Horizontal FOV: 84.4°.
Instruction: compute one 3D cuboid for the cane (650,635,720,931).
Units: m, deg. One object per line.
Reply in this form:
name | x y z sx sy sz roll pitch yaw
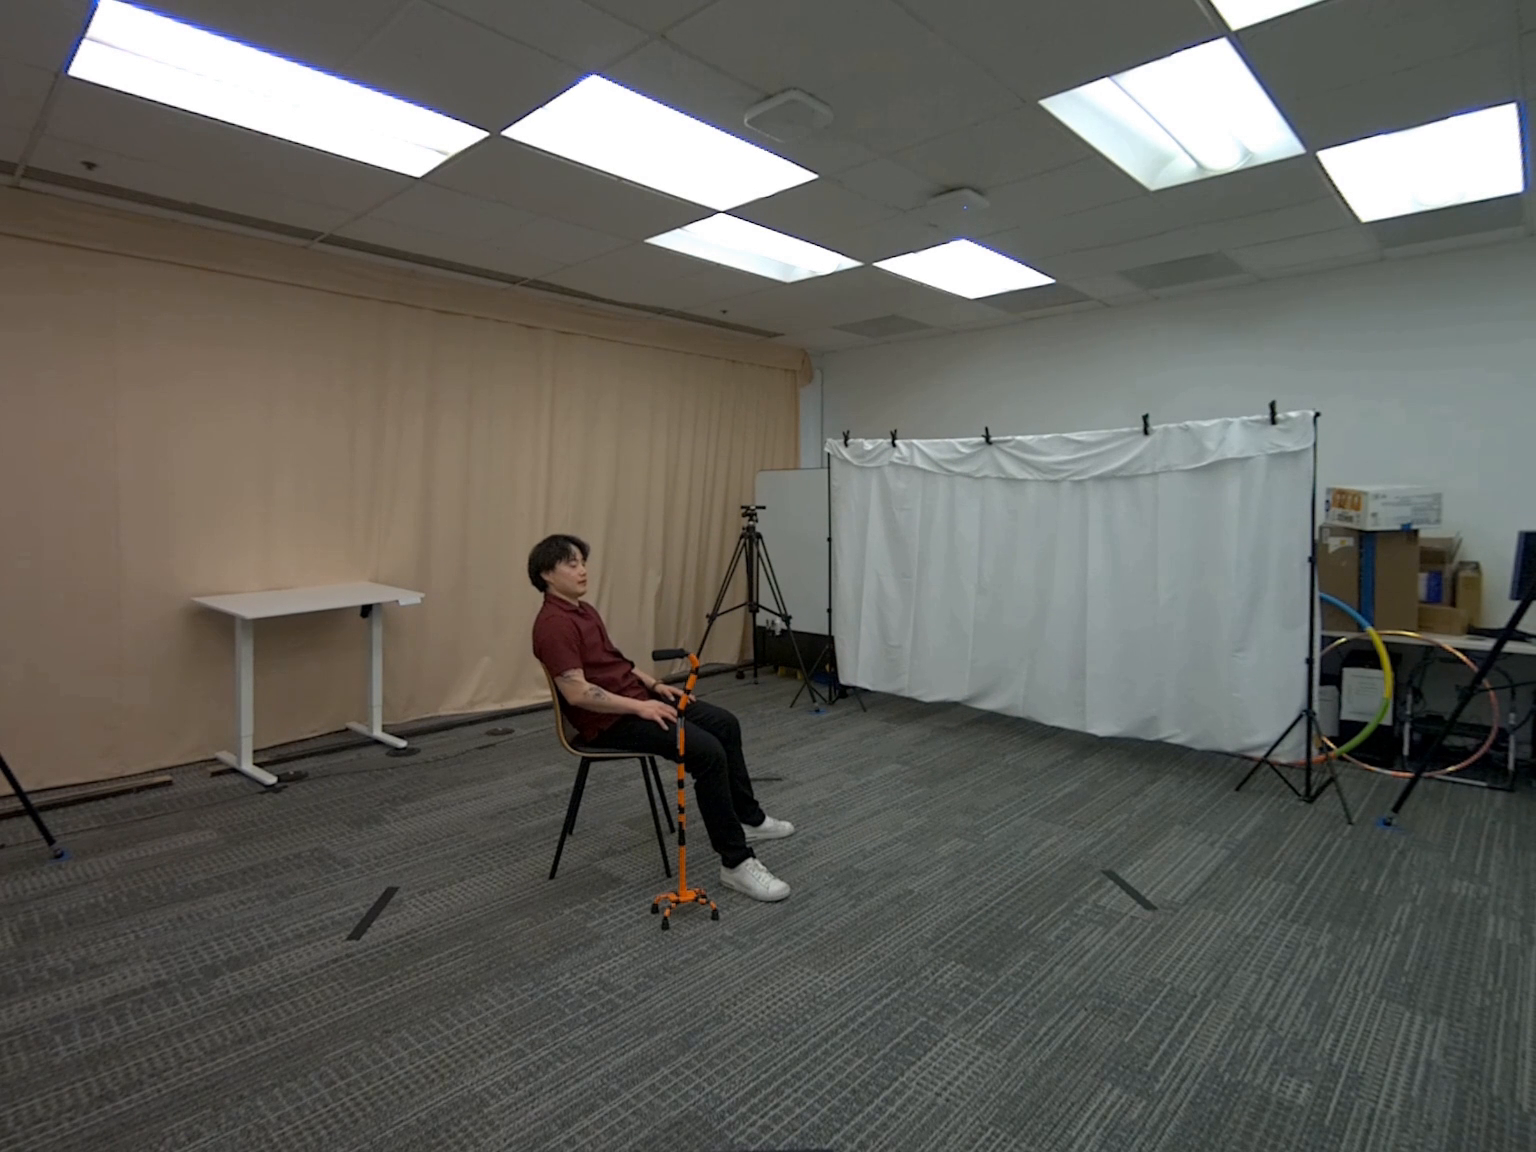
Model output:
cane | -0.289 0.697 2.842 0.201 0.906 0.155 -1 2 -25
